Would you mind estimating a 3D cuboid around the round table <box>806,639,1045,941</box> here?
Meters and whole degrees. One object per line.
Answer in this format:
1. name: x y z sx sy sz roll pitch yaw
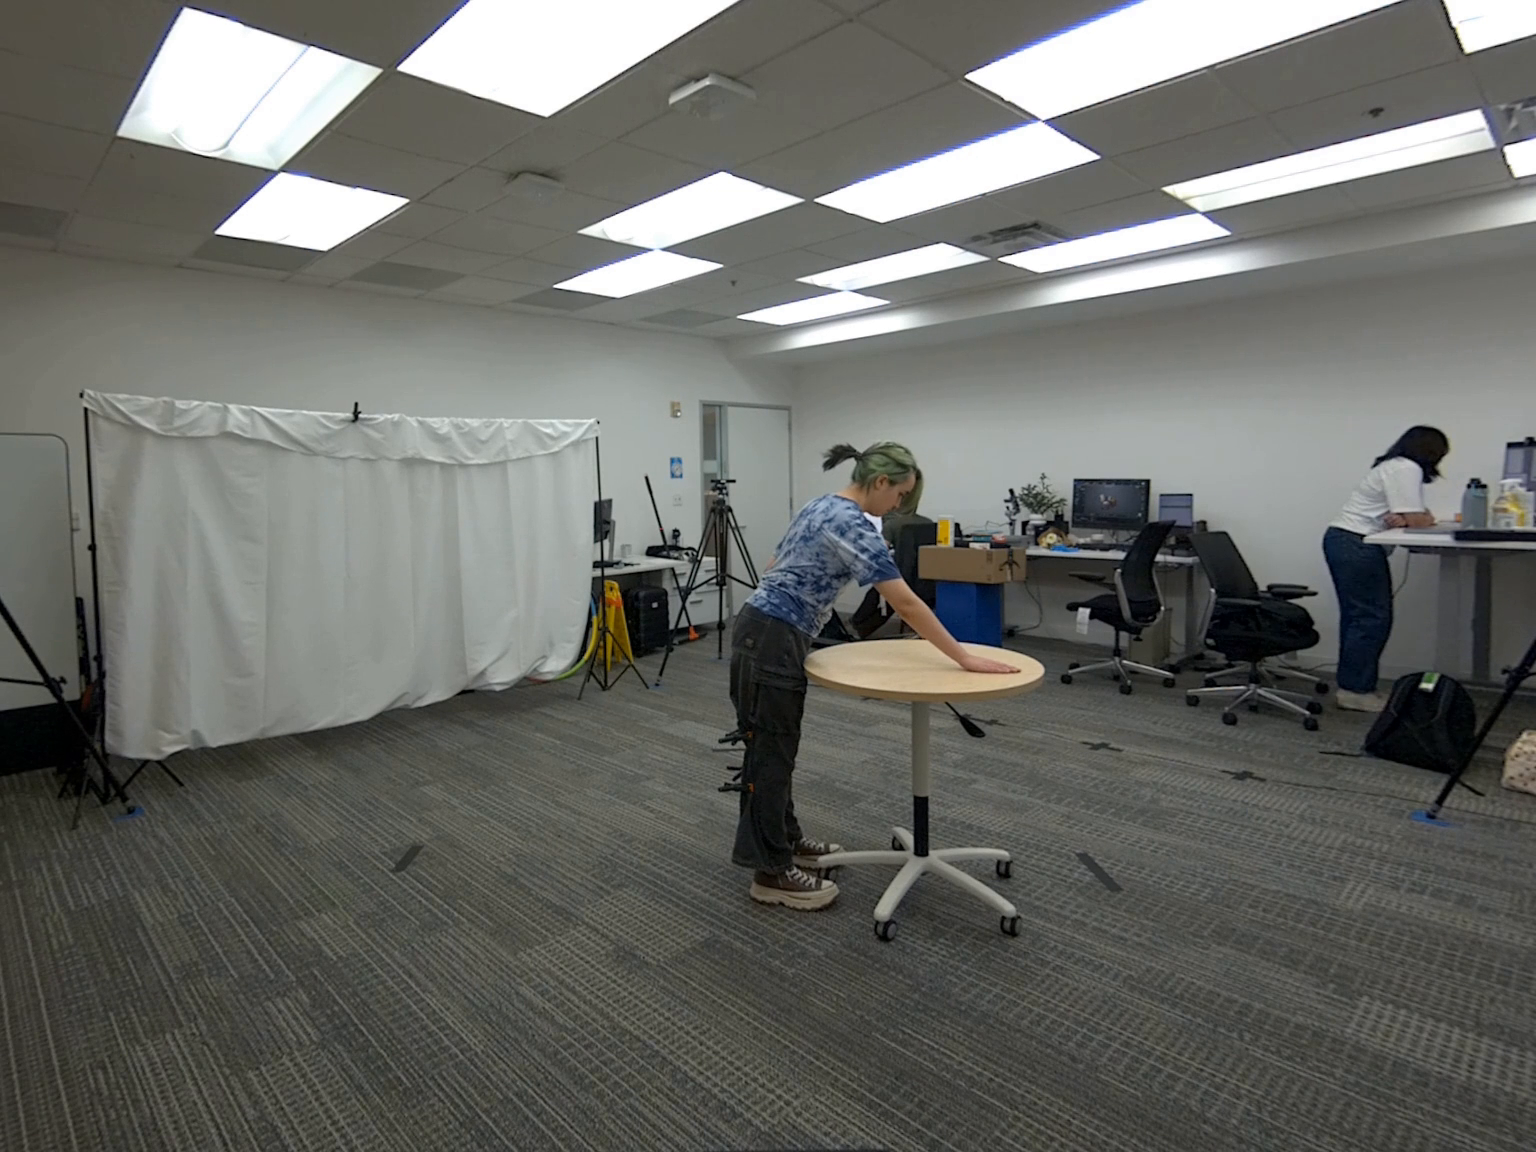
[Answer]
1. round table: 0.496 0.675 2.818 0.784 0.783 0.789 -1 5 -2
